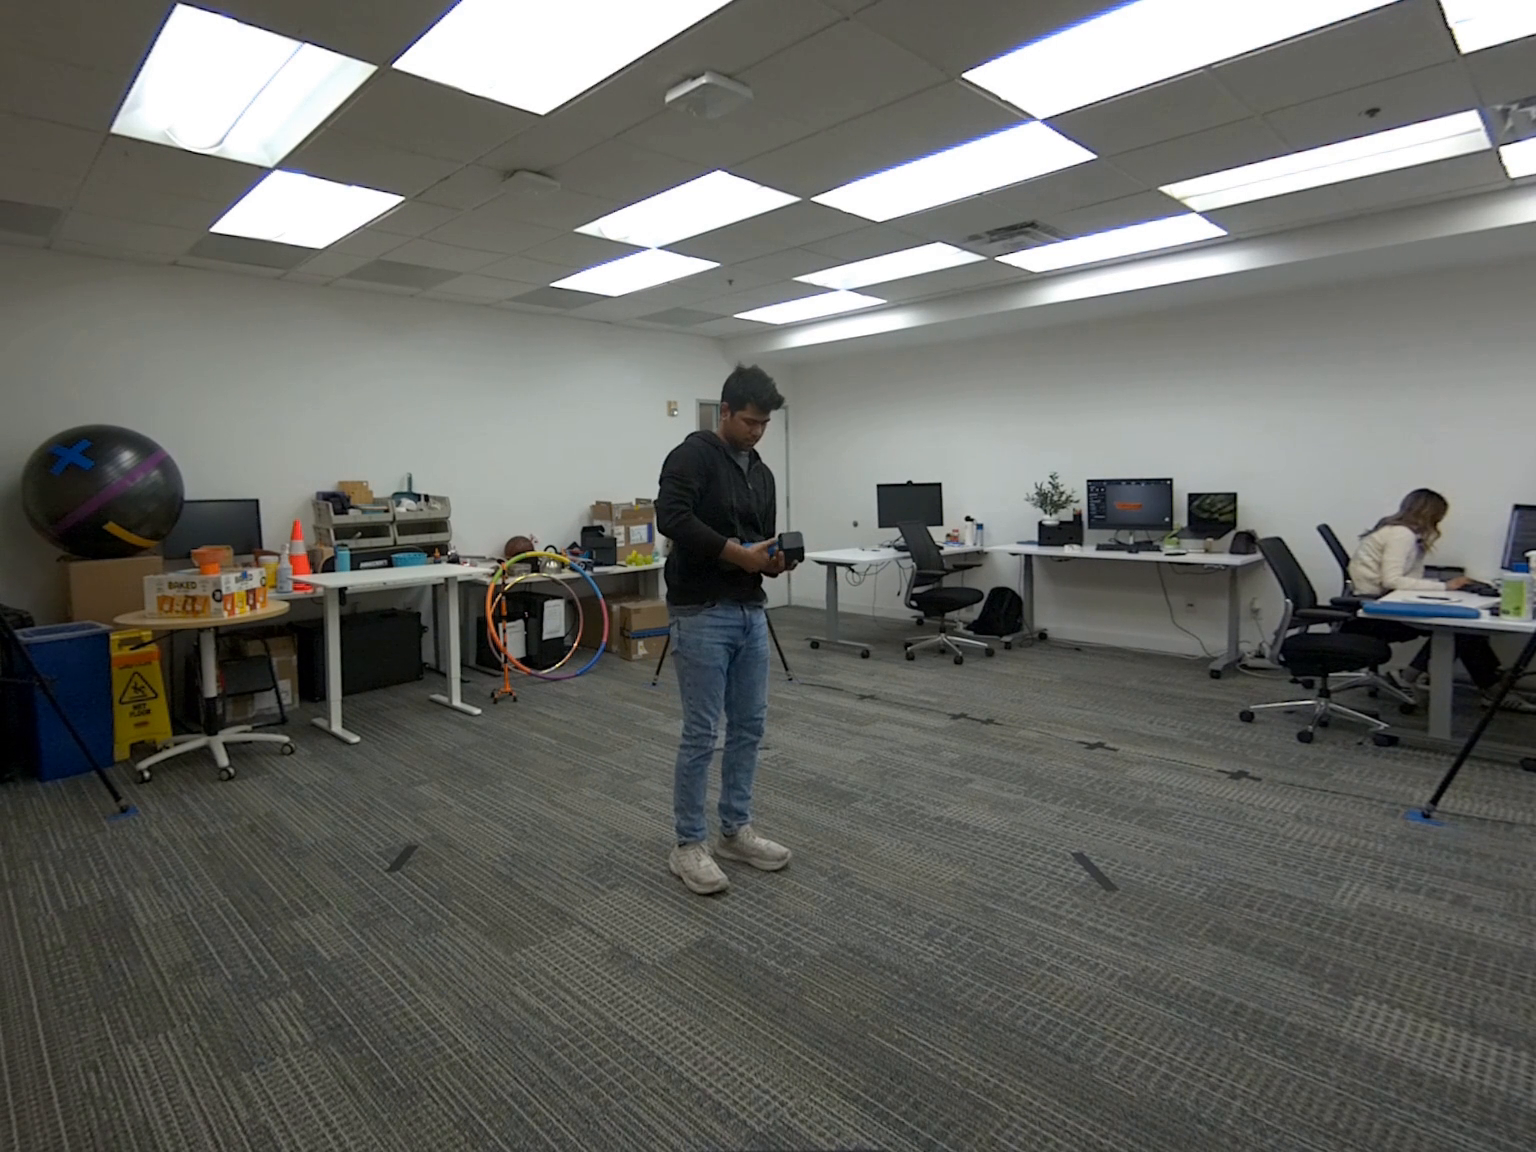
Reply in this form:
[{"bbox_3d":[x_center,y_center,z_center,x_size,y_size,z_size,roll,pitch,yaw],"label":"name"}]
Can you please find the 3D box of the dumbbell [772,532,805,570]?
[{"bbox_3d":[-0.029,-0.075,2.872,0.291,0.109,0.124,-7,1,-10],"label":"dumbbell"}]
